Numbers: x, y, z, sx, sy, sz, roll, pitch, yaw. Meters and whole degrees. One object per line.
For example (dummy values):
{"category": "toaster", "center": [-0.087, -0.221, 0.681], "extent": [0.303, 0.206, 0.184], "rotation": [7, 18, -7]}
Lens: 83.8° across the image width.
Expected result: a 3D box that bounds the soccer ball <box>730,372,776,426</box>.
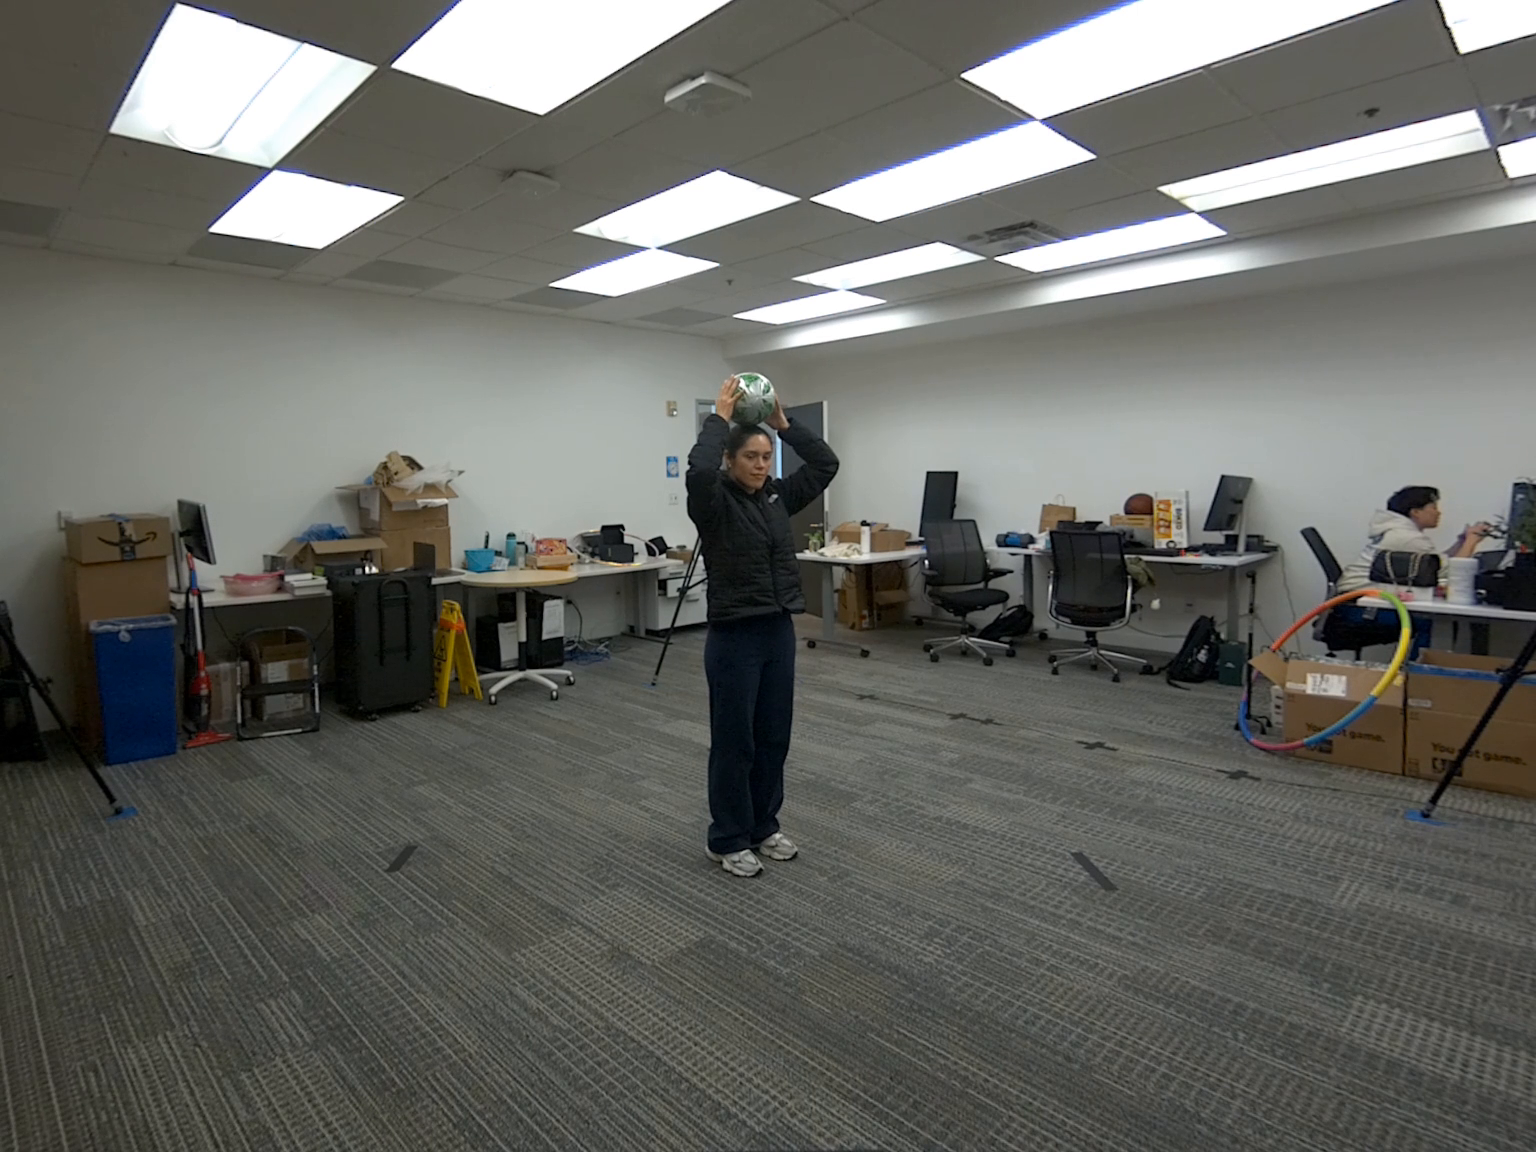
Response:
{"category": "soccer ball", "center": [-0.070, -0.621, 3.000], "extent": [0.187, 0.187, 0.188], "rotation": [-1, 5, -2]}
